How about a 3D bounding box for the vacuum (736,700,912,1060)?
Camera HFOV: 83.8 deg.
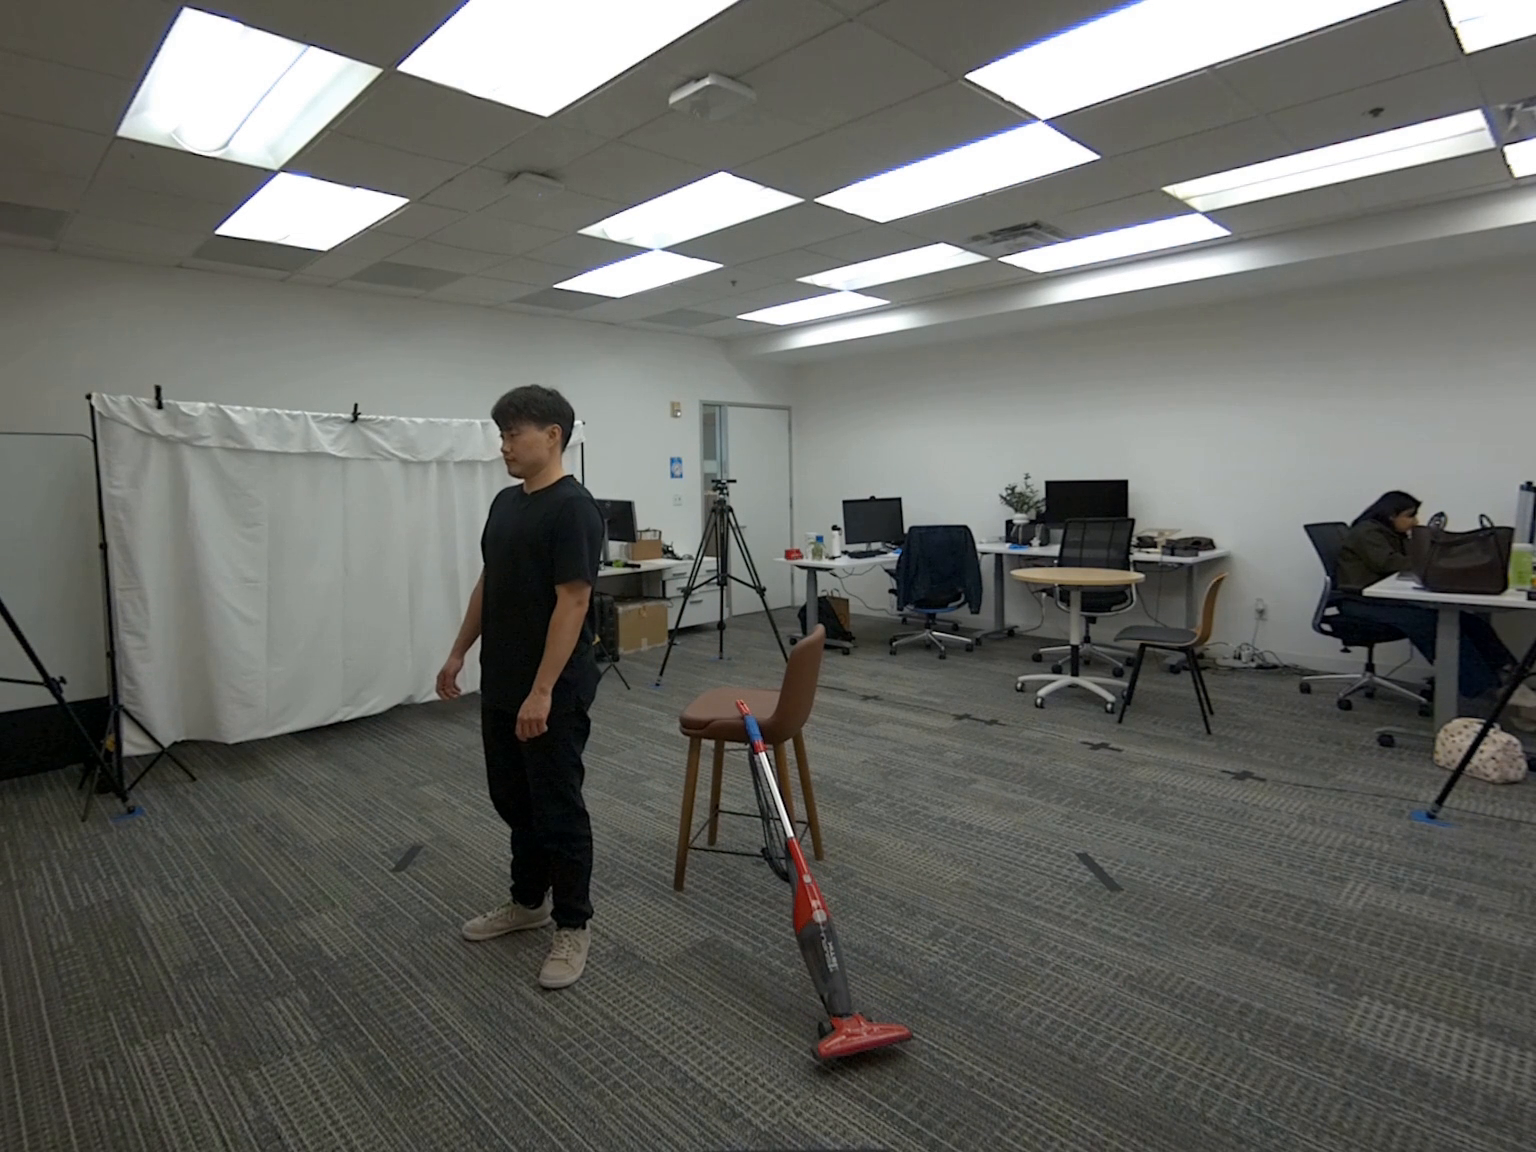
[{"bbox_3d":[0.065,0.786,2.465,0.248,0.141,1.088,-3,41,-20],"label":"vacuum"}]
